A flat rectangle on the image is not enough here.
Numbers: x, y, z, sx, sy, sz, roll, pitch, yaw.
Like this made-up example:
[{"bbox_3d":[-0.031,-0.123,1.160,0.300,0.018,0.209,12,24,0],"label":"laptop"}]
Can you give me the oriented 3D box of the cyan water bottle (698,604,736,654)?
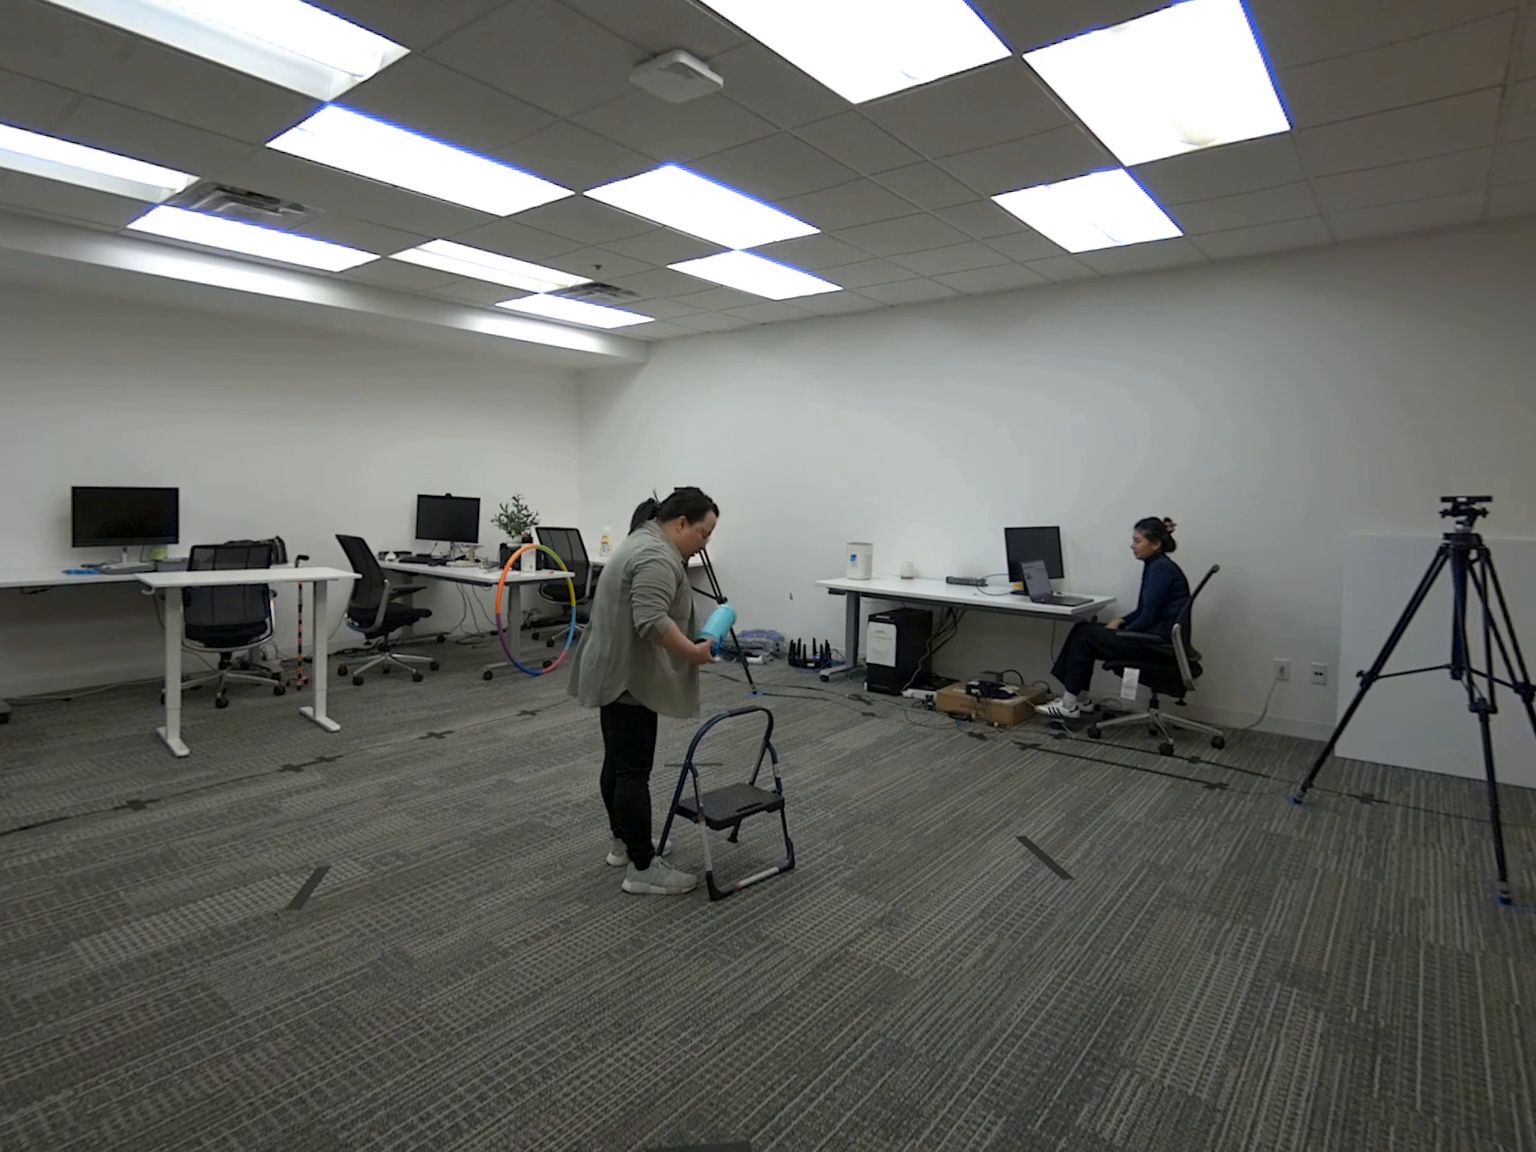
[{"bbox_3d":[-0.202,0.222,3.096,0.094,0.090,0.286,1,26,13],"label":"cyan water bottle"}]
